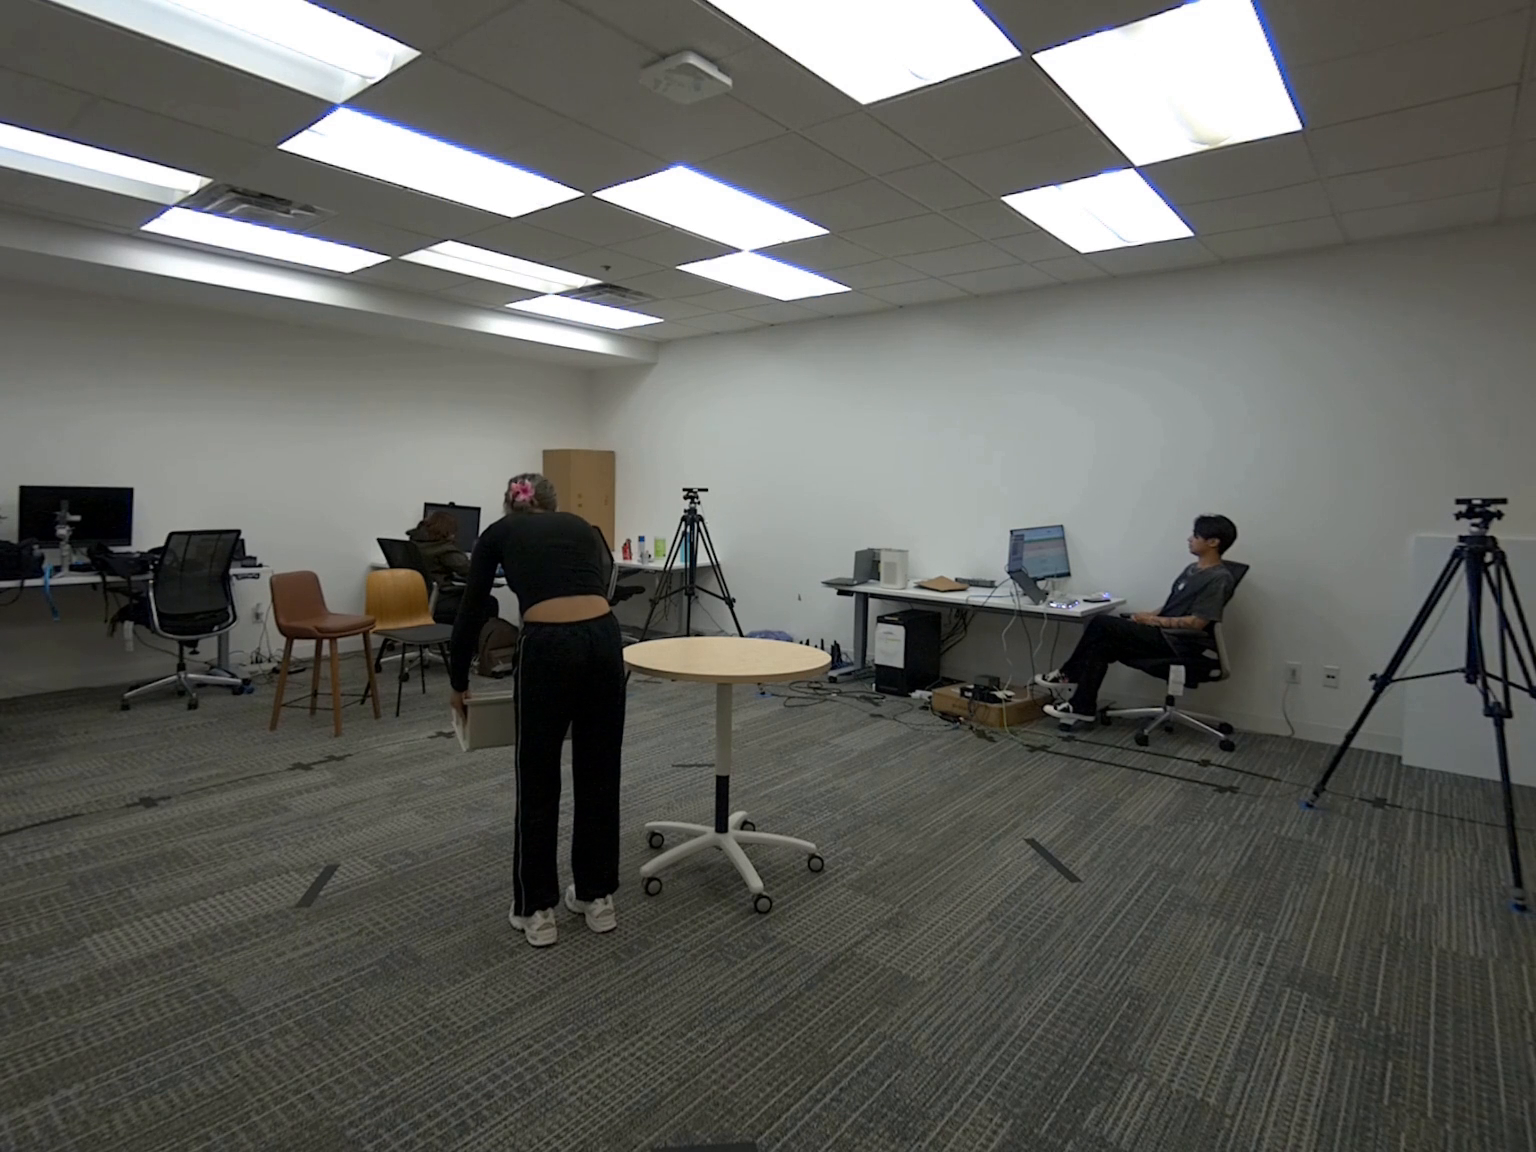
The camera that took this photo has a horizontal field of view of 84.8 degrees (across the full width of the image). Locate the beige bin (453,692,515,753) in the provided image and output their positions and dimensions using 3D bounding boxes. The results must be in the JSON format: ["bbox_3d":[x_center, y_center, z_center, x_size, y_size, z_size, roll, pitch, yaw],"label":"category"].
[{"bbox_3d":[-0.897,0.454,2.994,0.412,0.187,0.389,-1,10,-26],"label":"beige bin"}]
